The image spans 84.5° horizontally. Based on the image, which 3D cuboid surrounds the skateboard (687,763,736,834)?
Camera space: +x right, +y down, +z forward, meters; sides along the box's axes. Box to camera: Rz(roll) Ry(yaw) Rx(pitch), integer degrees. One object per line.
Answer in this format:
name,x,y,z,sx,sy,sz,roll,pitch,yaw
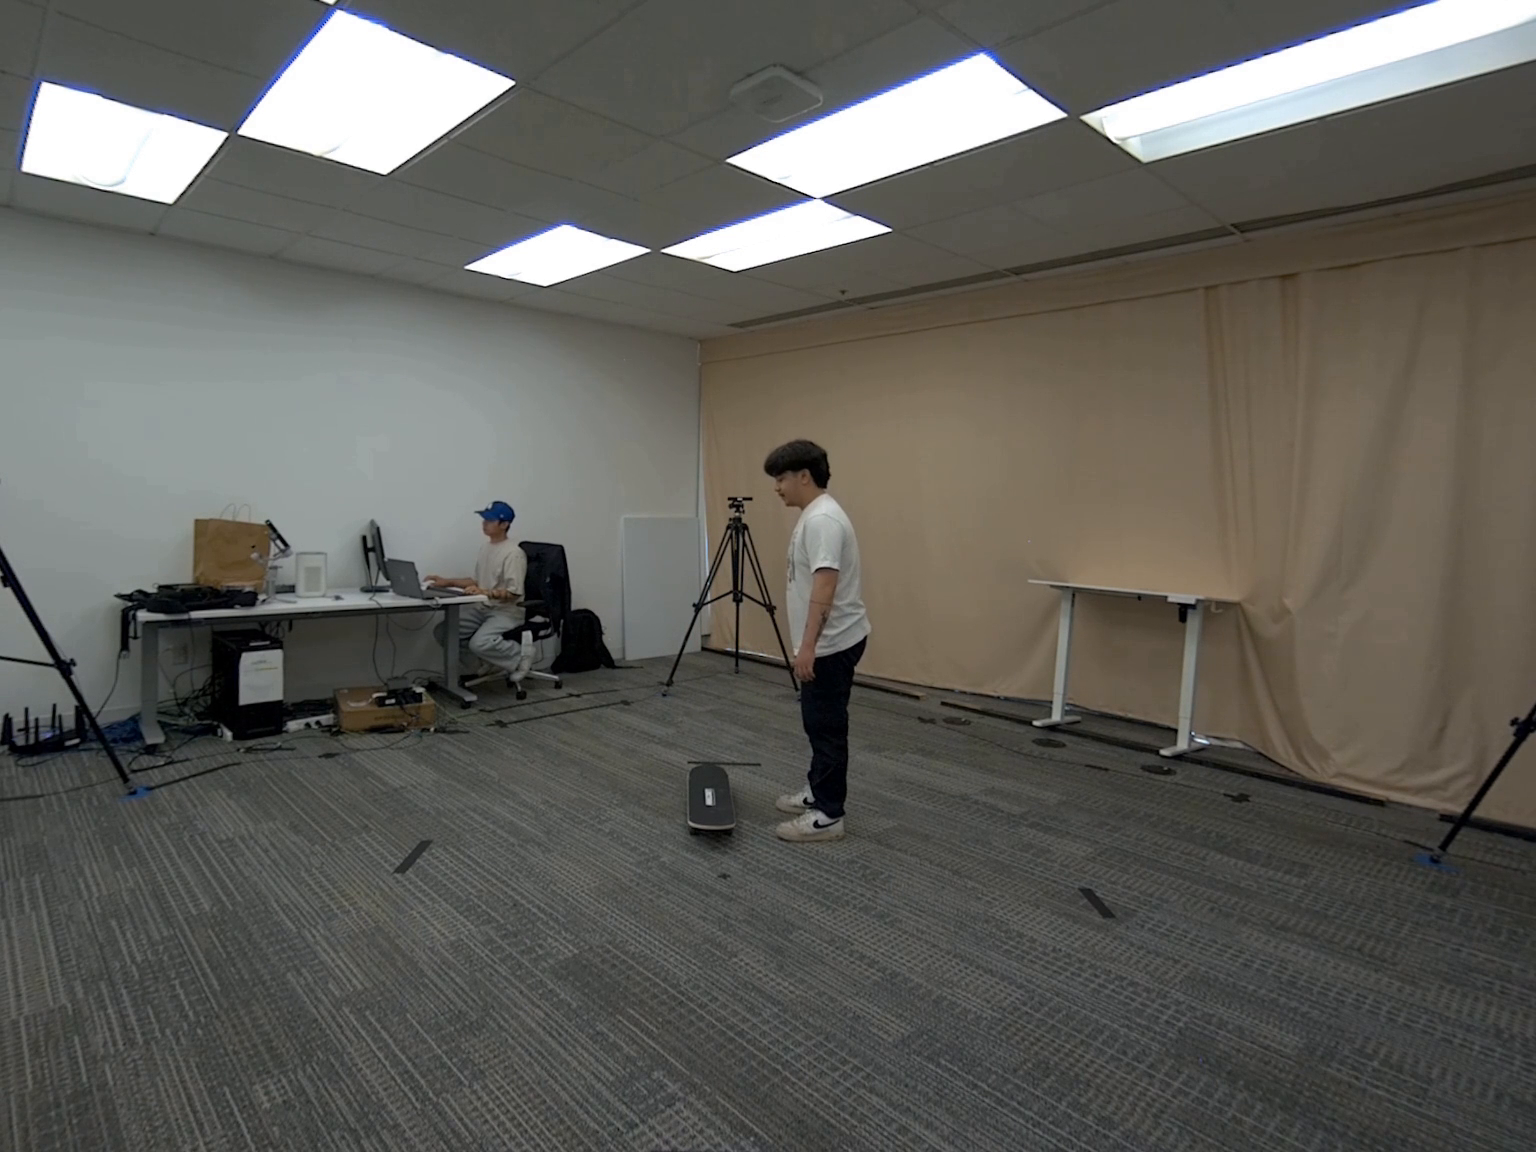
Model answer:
skateboard,-0.263,0.995,3.685,0.193,0.110,0.791,0,5,-6
